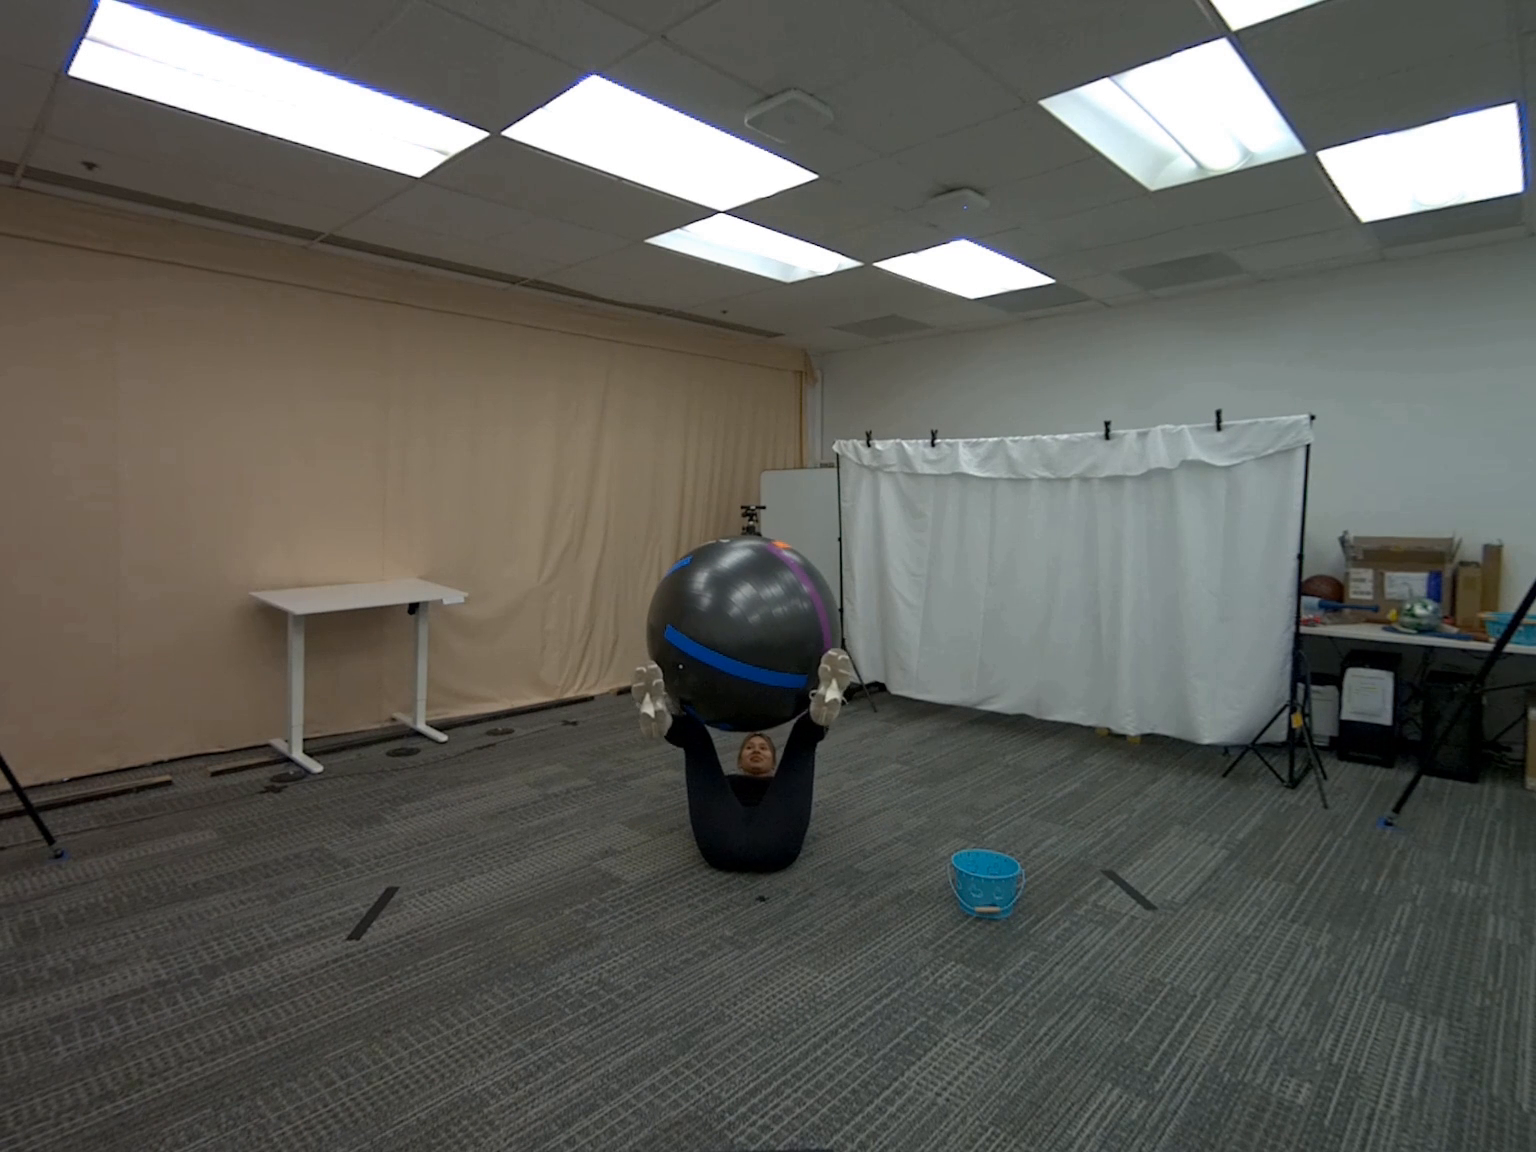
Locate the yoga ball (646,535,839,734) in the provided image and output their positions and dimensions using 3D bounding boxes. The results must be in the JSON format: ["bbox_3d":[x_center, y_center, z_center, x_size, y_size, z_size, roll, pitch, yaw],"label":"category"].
[{"bbox_3d":[-0.094,0.225,3.272,0.757,0.756,0.760,0,4,-2],"label":"yoga ball"}]
